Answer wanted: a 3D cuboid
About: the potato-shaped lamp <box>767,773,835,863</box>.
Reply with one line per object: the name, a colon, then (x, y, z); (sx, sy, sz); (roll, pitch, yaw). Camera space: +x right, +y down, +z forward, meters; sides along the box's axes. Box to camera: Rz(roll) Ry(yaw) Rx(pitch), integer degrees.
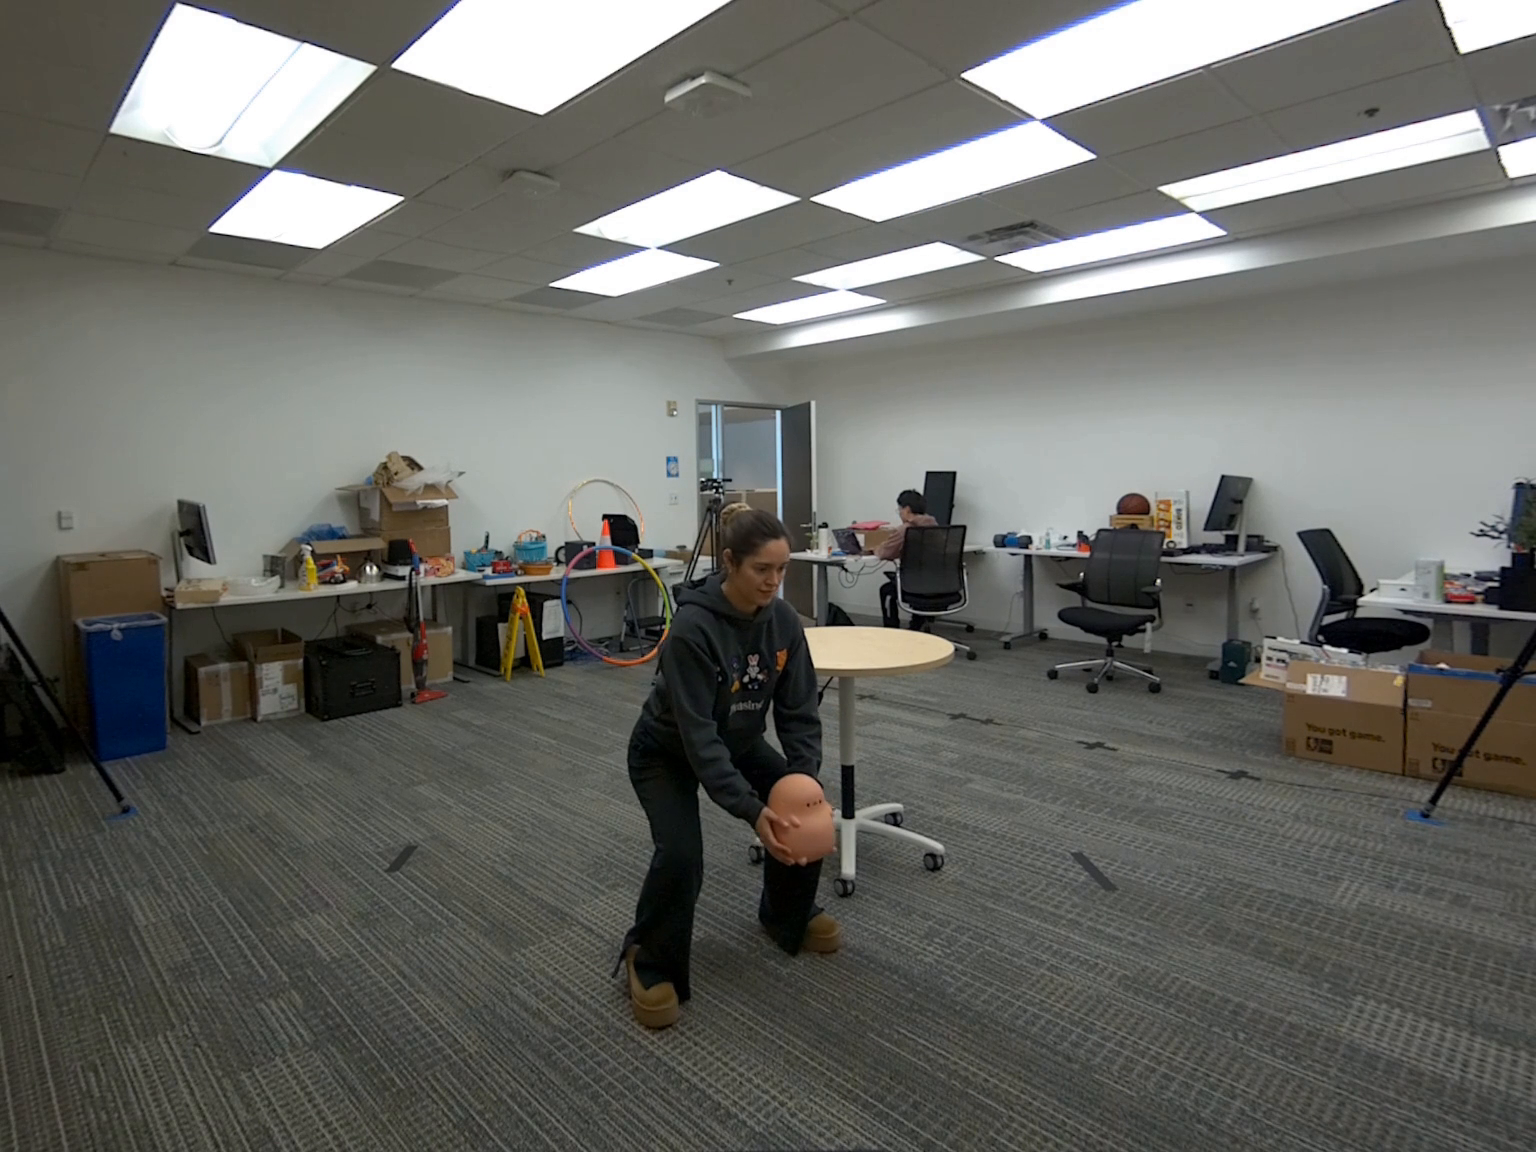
potato-shaped lamp: (0.091, 0.597, 2.115); (0.160, 0.198, 0.176); (-4, 3, -38)
